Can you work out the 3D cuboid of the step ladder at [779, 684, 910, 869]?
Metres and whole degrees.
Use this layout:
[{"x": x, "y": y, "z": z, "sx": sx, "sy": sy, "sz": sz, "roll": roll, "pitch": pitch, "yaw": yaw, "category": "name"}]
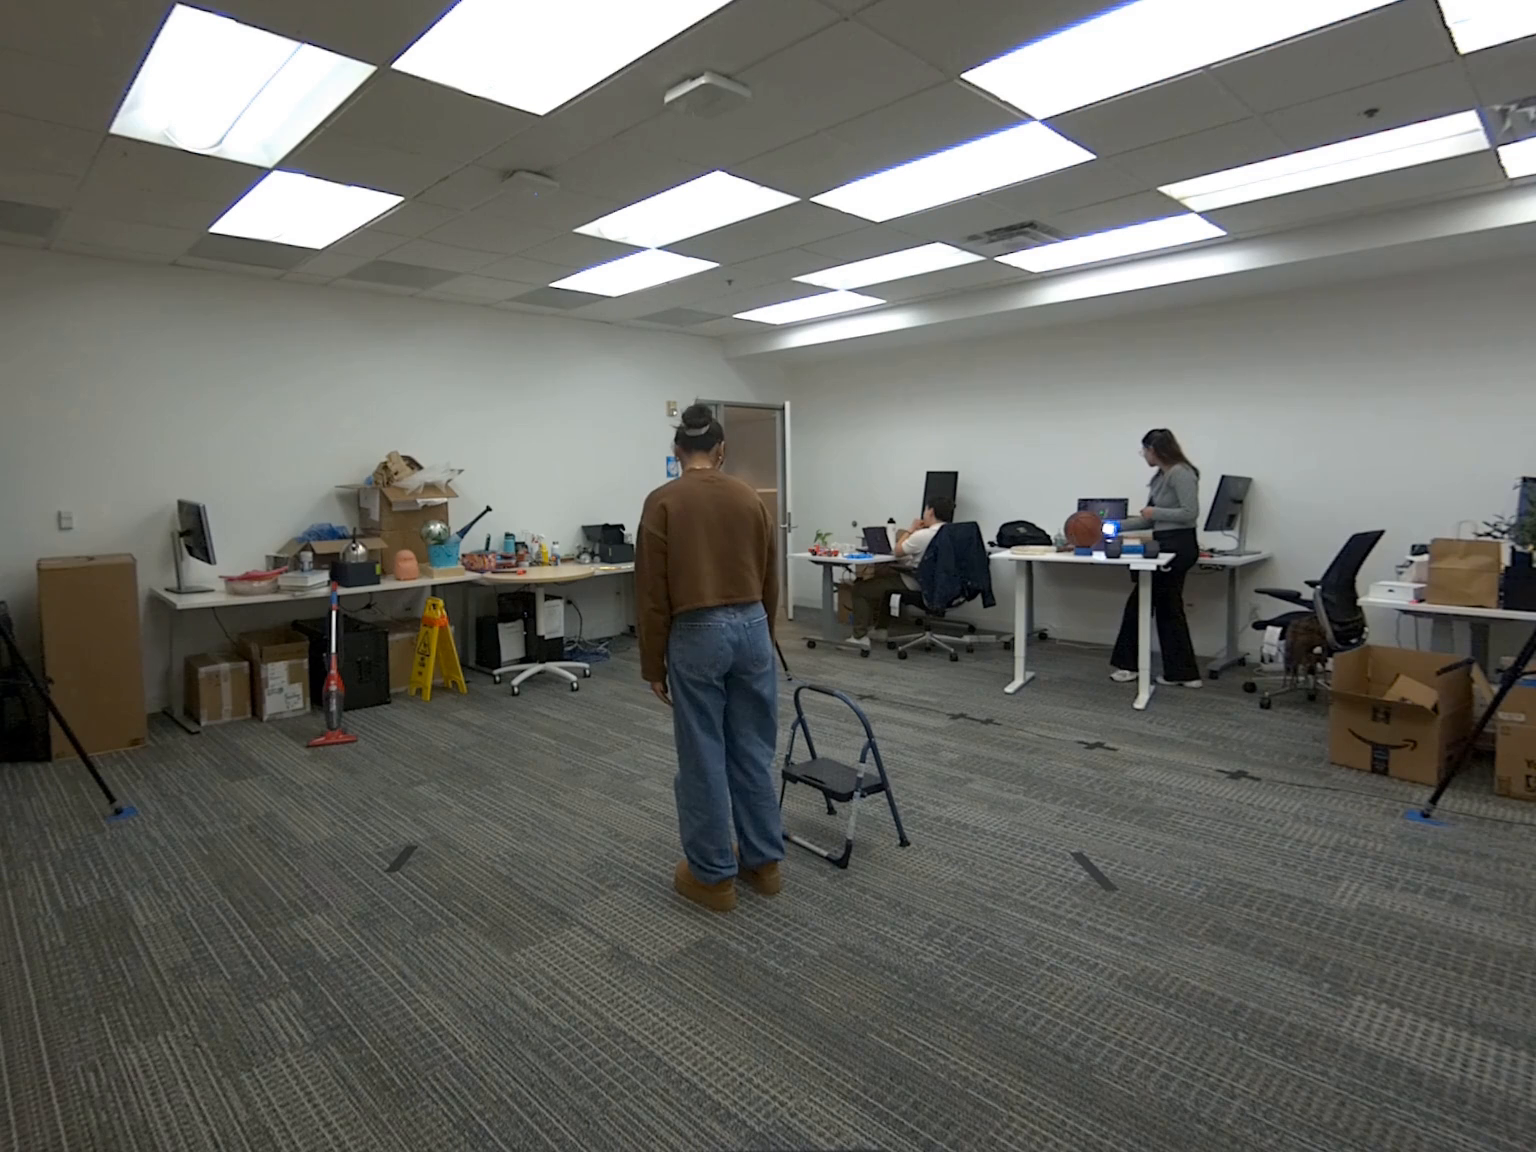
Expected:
[{"x": 0.268, "y": 0.713, "z": 3.290, "sx": 0.340, "sy": 0.603, "sz": 0.444, "roll": -5, "pitch": 6, "yaw": -38, "category": "step ladder"}]
